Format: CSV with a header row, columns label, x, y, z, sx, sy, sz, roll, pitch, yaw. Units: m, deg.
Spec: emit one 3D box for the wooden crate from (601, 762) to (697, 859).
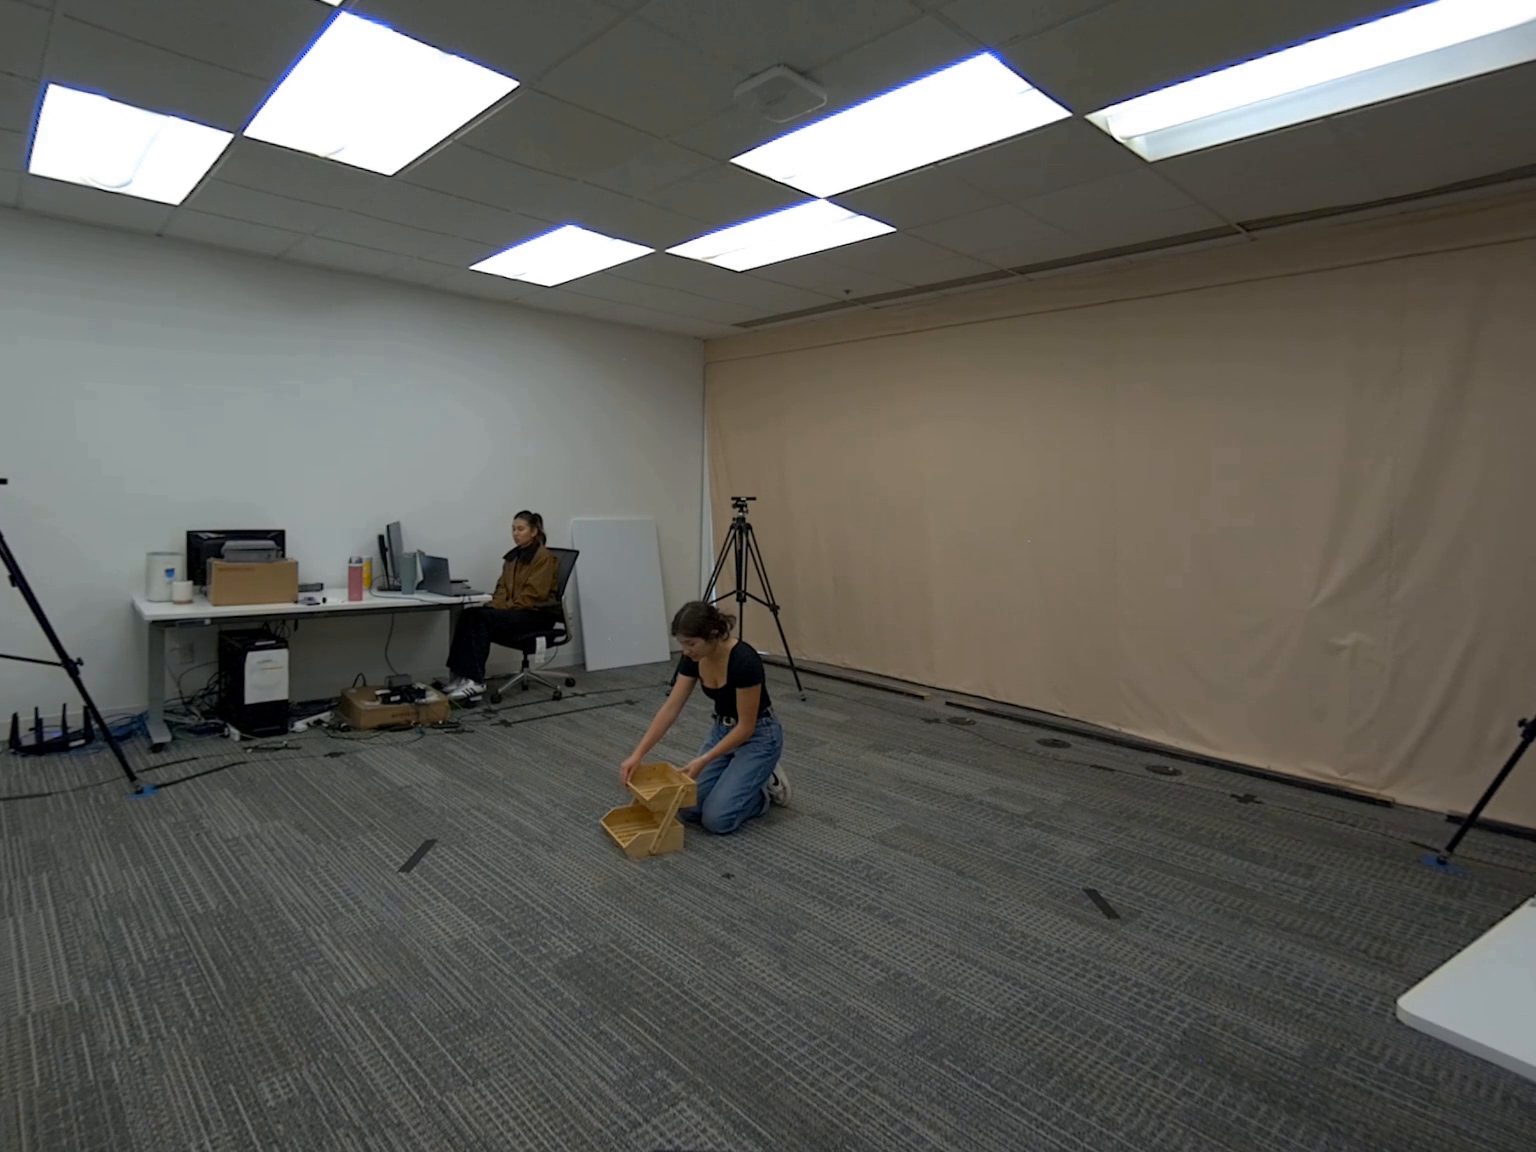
label,x,y,z,sx,sy,sz,roll,pitch,yaw
wooden crate,-0.501,0.935,3.413,0.296,0.273,0.332,0,4,-29
